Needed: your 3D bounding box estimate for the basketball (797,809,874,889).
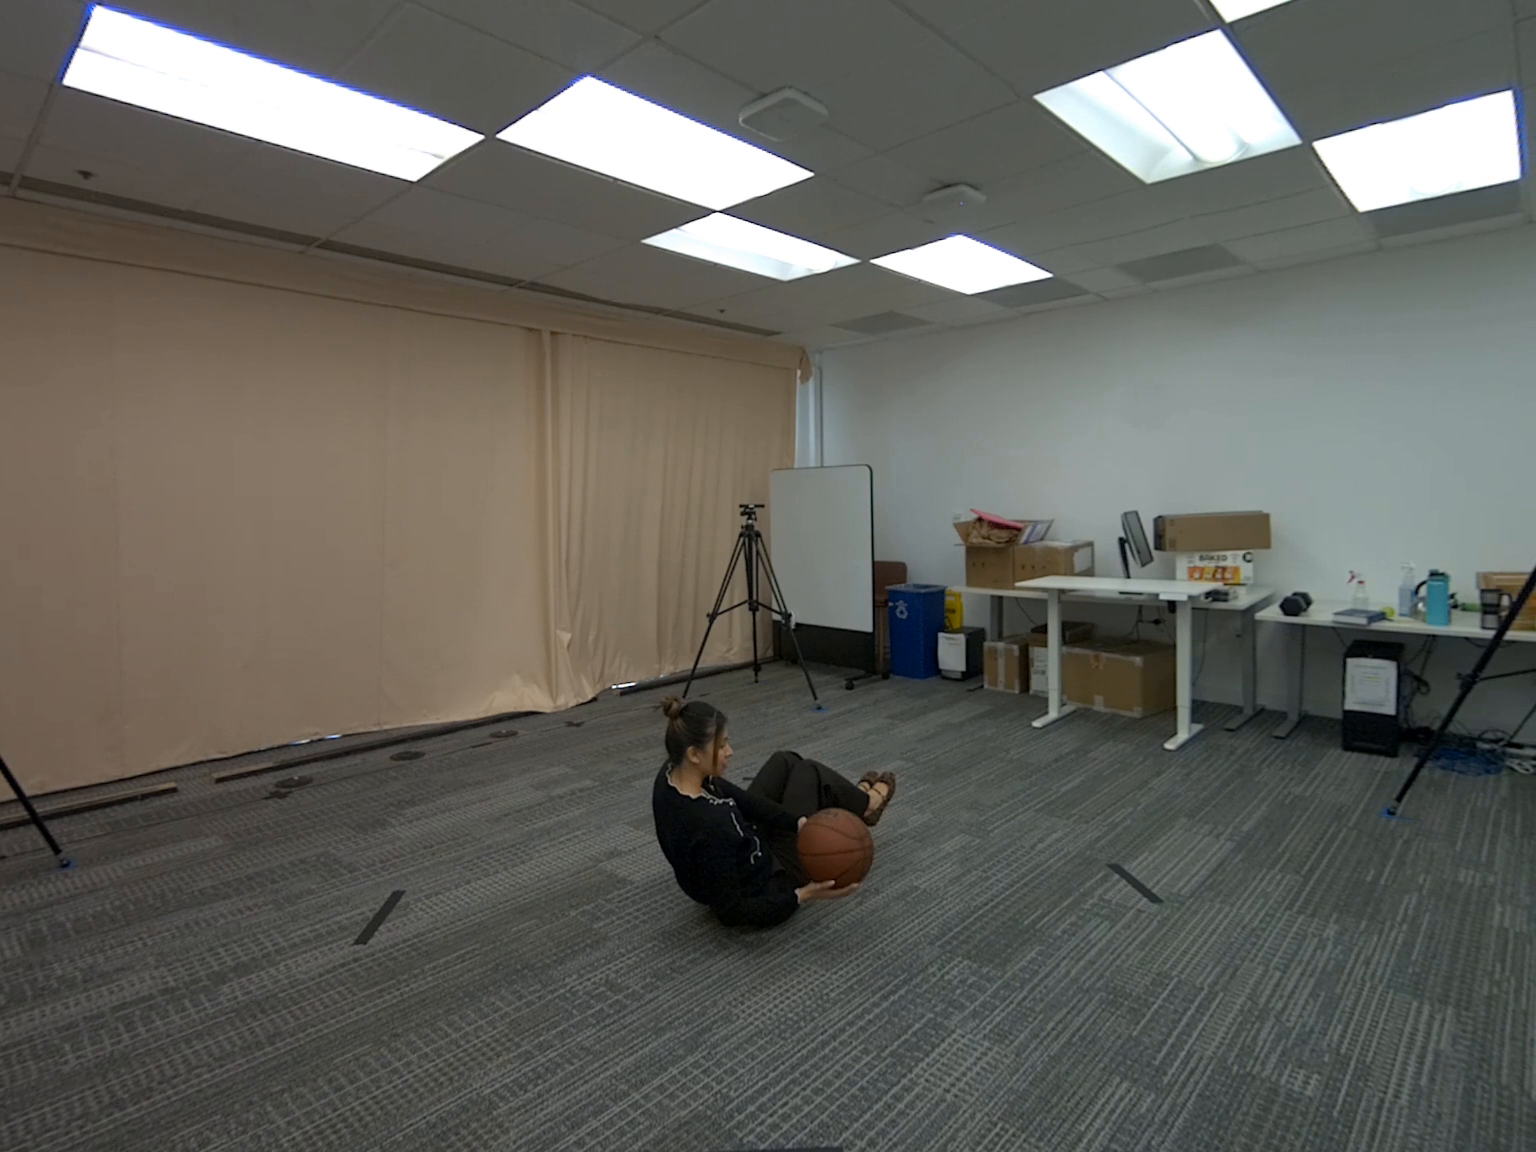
[{"bbox_3d":[0.210,0.829,2.587,0.236,0.235,0.237,-1,4,-2],"label":"basketball"}]
